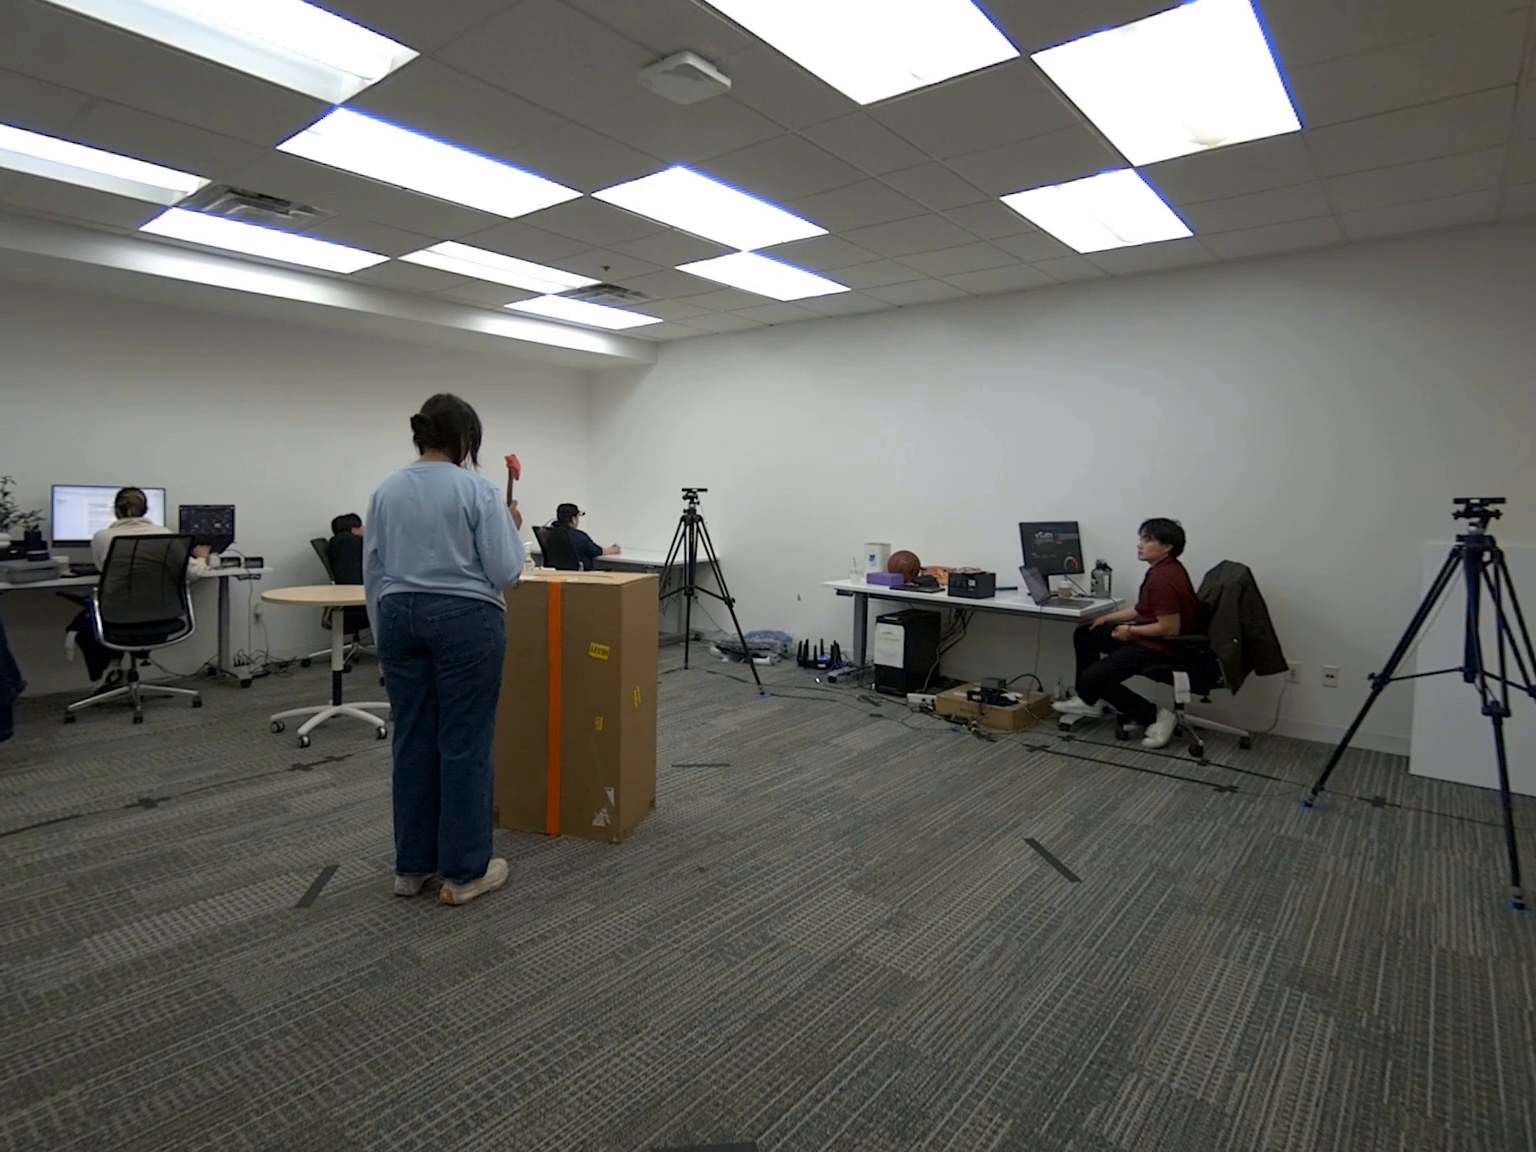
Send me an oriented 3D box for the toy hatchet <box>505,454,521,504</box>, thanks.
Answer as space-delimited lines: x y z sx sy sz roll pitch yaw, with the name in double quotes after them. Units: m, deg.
-0.950 -0.313 3.135 0.030 0.270 0.130 -4 2 4 "toy hatchet"
